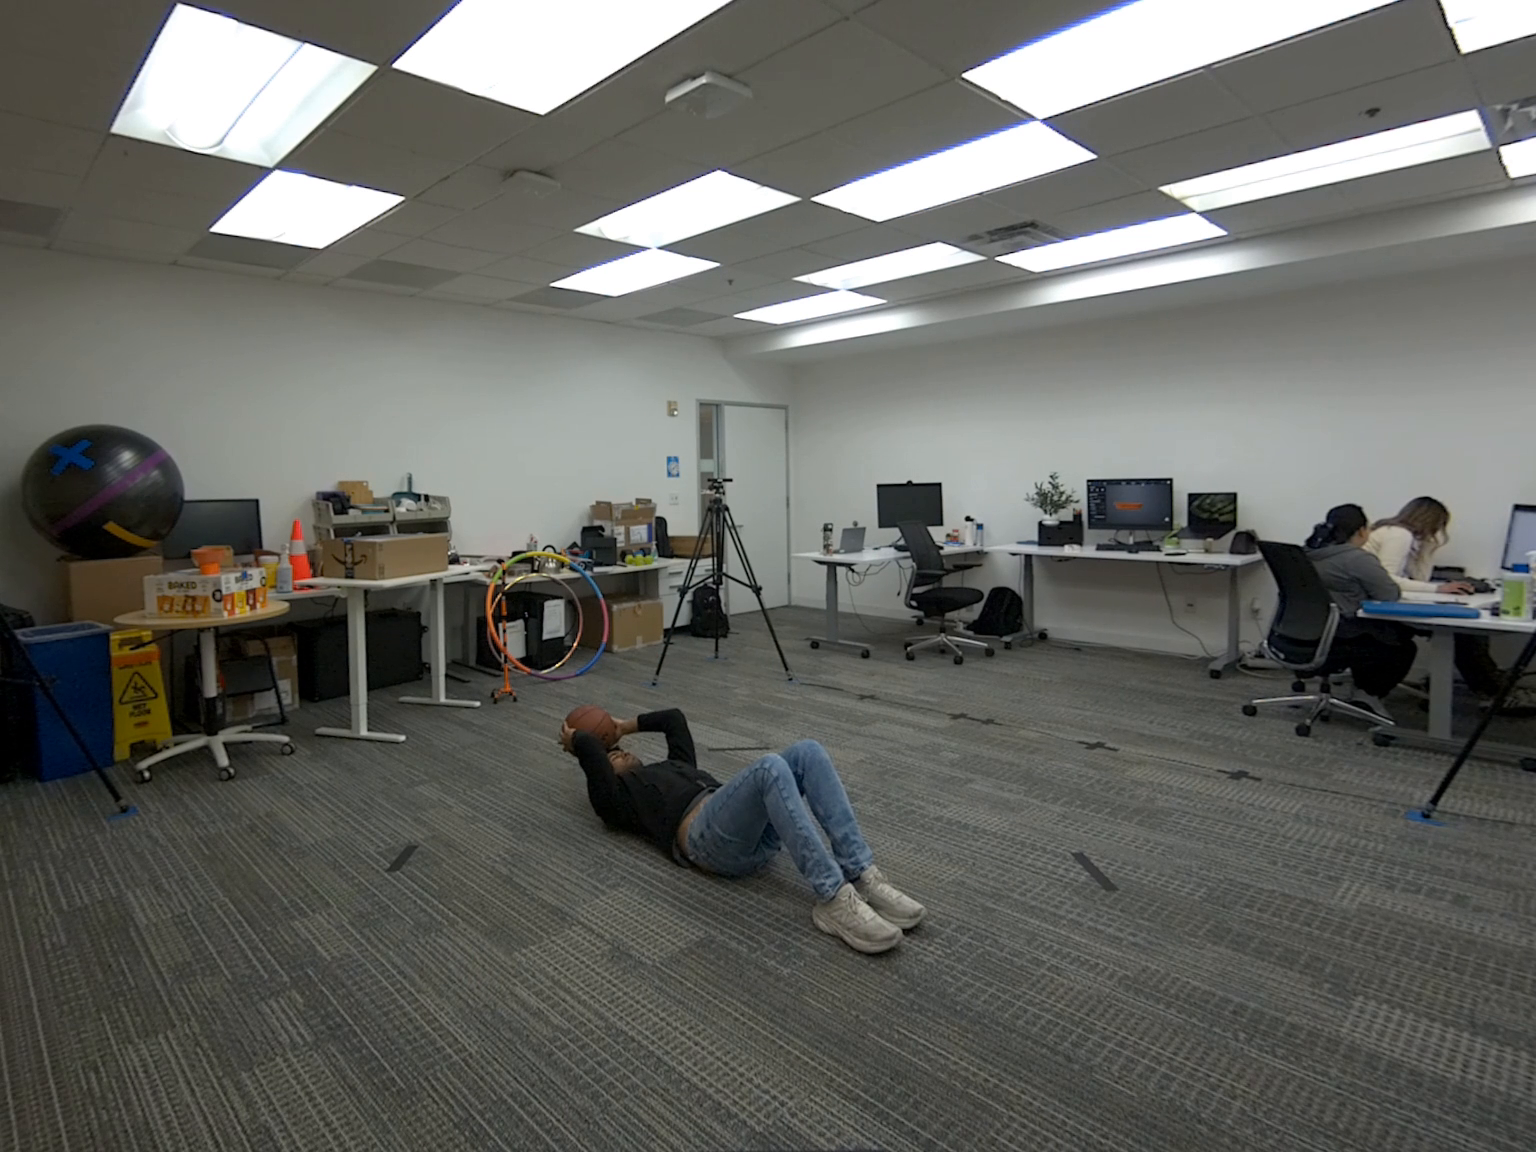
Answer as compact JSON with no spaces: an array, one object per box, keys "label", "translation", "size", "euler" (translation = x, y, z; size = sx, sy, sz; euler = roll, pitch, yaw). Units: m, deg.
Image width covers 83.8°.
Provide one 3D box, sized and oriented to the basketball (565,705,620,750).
[{"label":"basketball","translation":[-0.796,0.687,3.804],"size":[0.236,0.235,0.237],"euler":[-1,5,-2]}]
